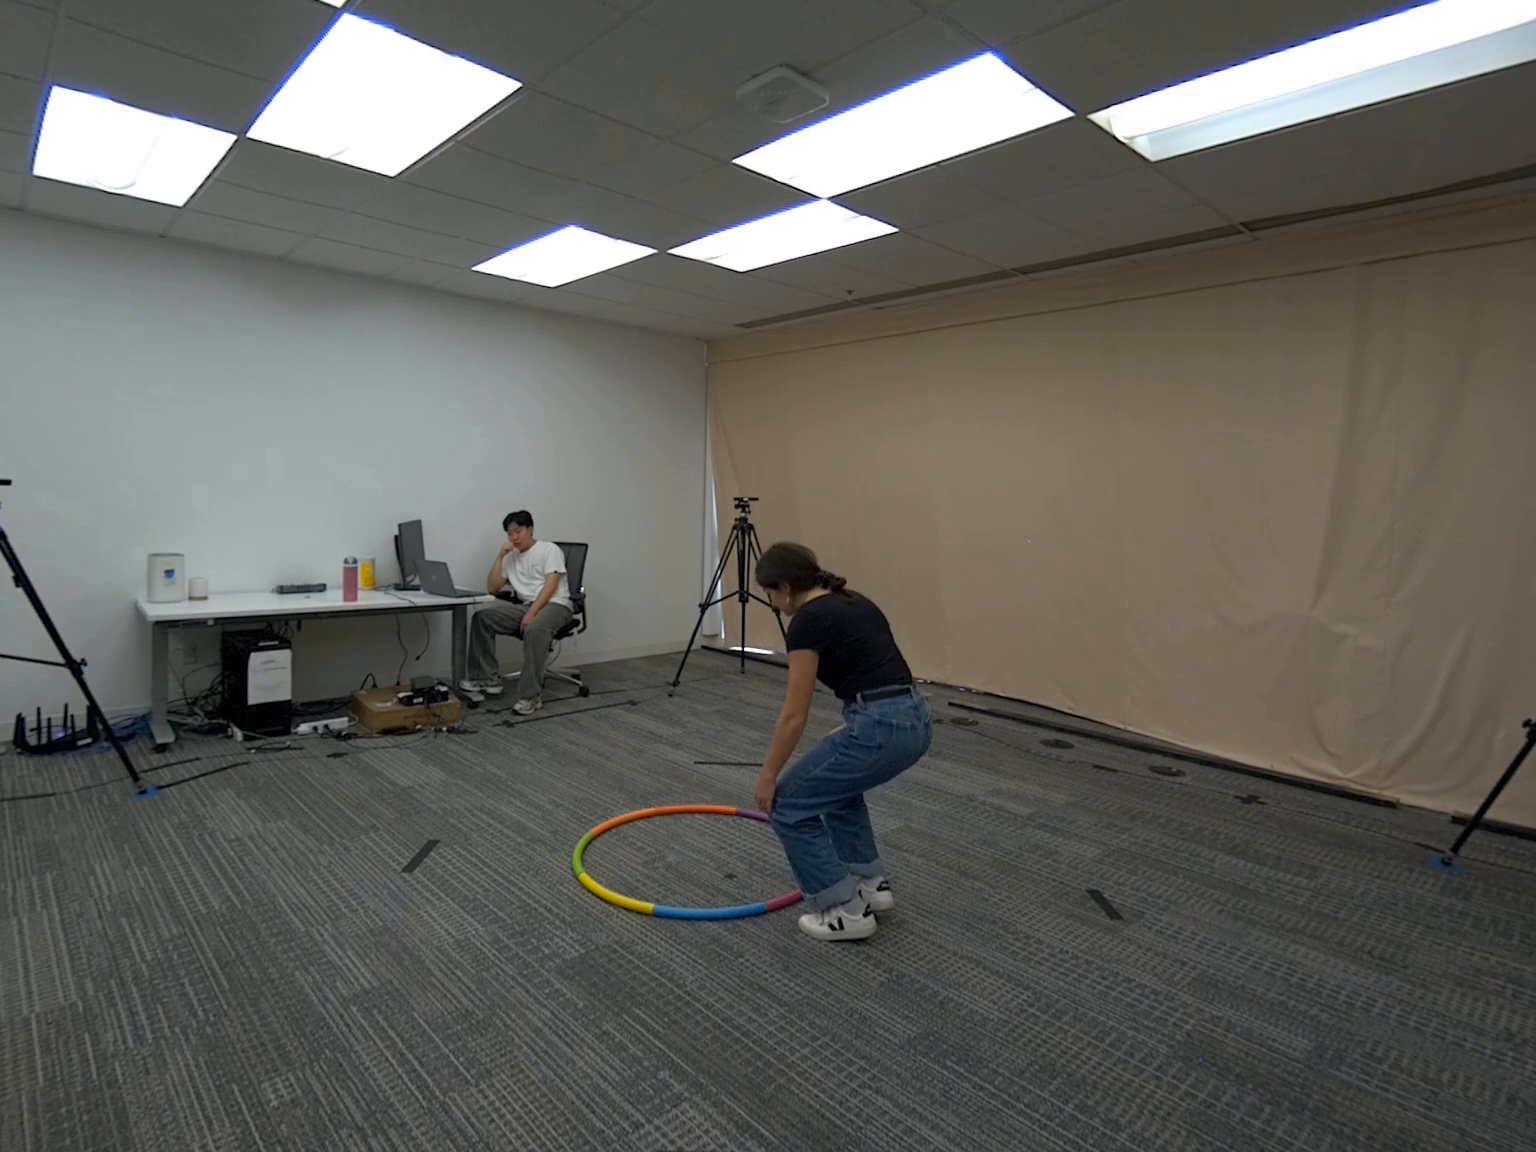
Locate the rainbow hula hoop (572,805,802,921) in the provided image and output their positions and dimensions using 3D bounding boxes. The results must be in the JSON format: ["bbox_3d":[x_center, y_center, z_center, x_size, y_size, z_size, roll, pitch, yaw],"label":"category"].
[{"bbox_3d":[-0.258,1.064,3.254,0.978,0.035,0.982,1,5,-1],"label":"rainbow hula hoop"}]
